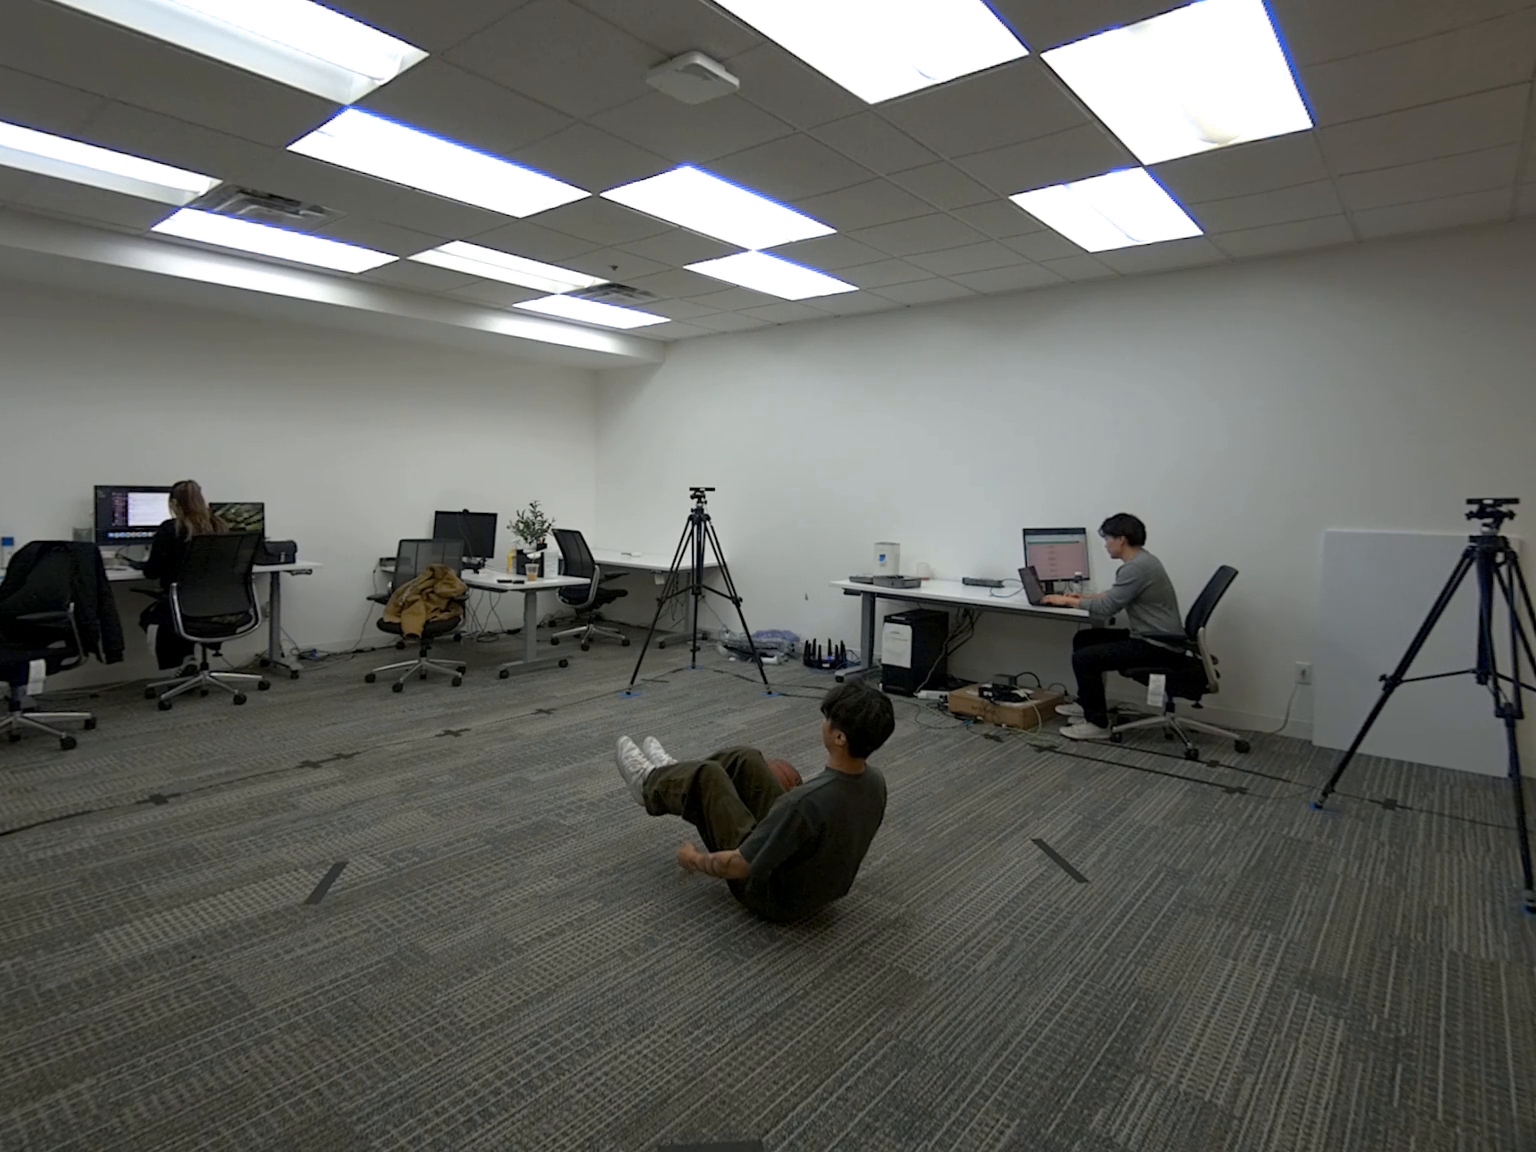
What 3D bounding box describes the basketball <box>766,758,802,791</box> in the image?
[{"bbox_3d":[0.000,0.807,3.238,0.235,0.235,0.237,1,4,-2],"label":"basketball"}]
